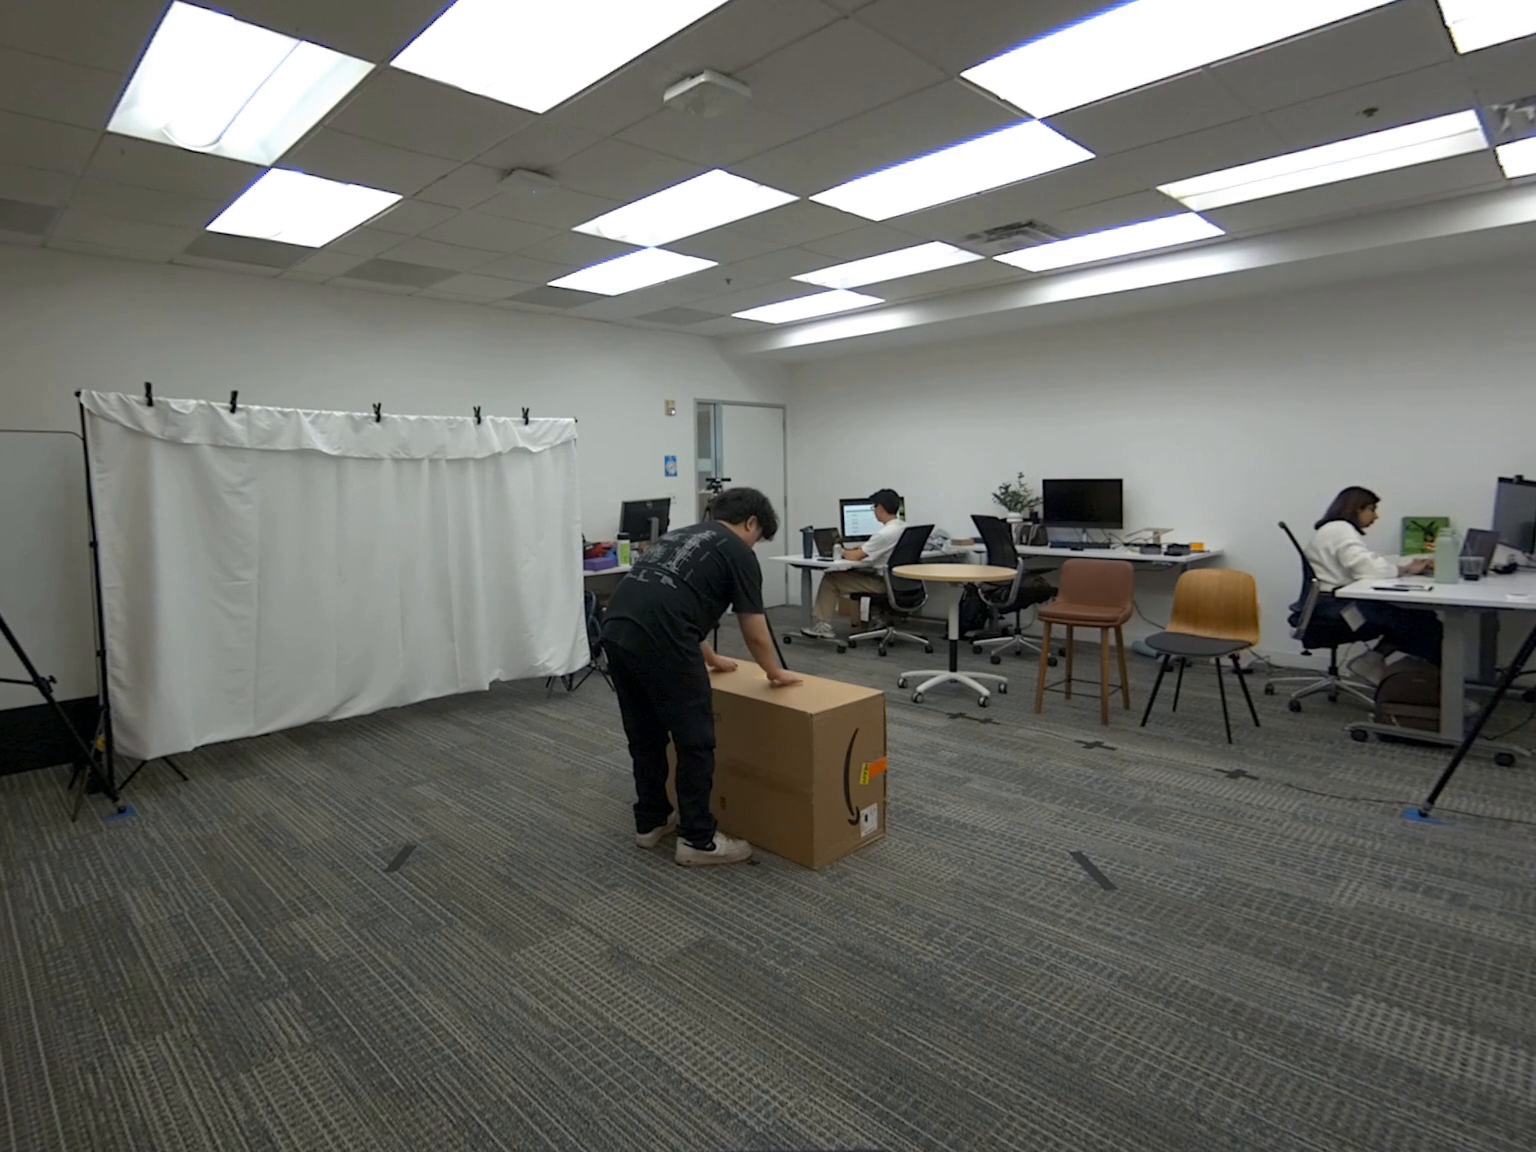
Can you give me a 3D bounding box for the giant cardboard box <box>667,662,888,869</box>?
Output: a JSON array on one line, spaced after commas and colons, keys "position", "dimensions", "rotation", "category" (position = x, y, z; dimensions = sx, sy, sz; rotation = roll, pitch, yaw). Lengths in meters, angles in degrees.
[{"position": [-0.054, 0.710, 3.531], "dimensions": [0.435, 0.582, 1.059], "rotation": [-4, 7, -44], "category": "giant cardboard box"}]
